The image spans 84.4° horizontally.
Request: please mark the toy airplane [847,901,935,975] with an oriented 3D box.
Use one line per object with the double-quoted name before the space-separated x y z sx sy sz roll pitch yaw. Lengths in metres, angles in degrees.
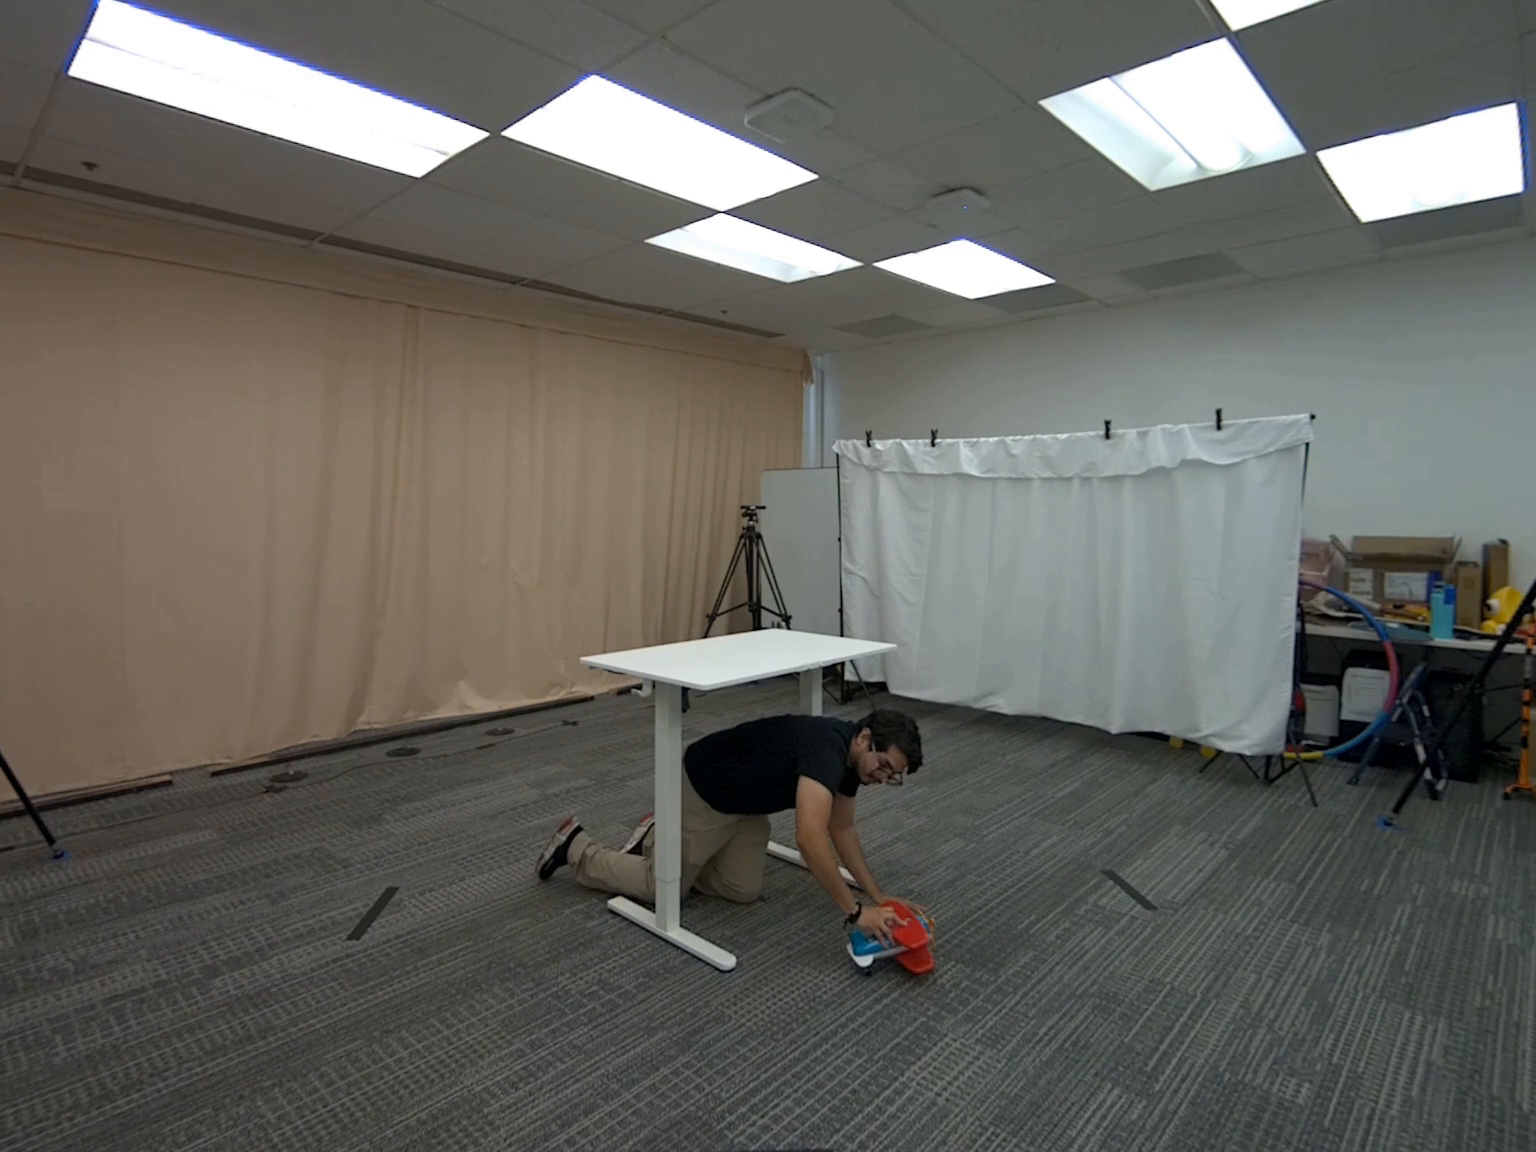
"toy airplane" 0.387 1.109 2.512 0.251 0.156 0.259 -3 6 -43
